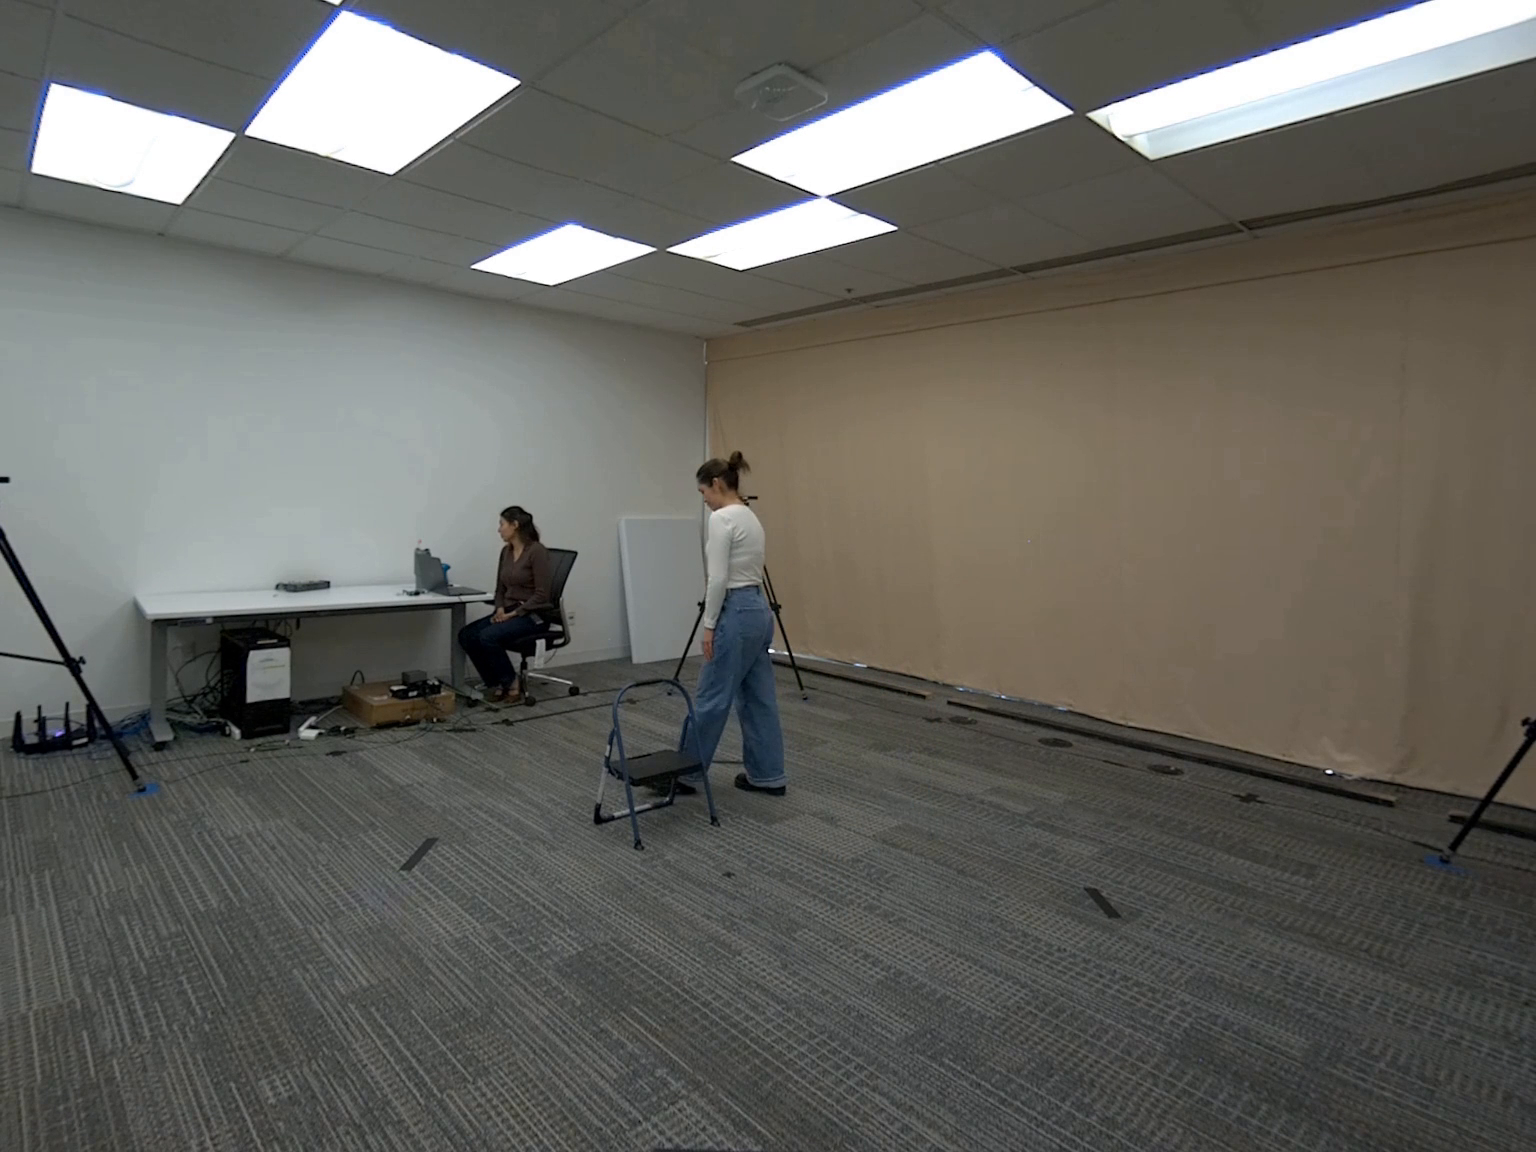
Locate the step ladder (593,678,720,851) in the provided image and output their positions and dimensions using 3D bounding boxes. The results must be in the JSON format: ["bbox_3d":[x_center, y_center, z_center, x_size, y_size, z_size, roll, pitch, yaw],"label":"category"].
[{"bbox_3d":[-0.472,0.754,3.551,0.421,0.605,0.358,-2,5,-43],"label":"step ladder"}]
